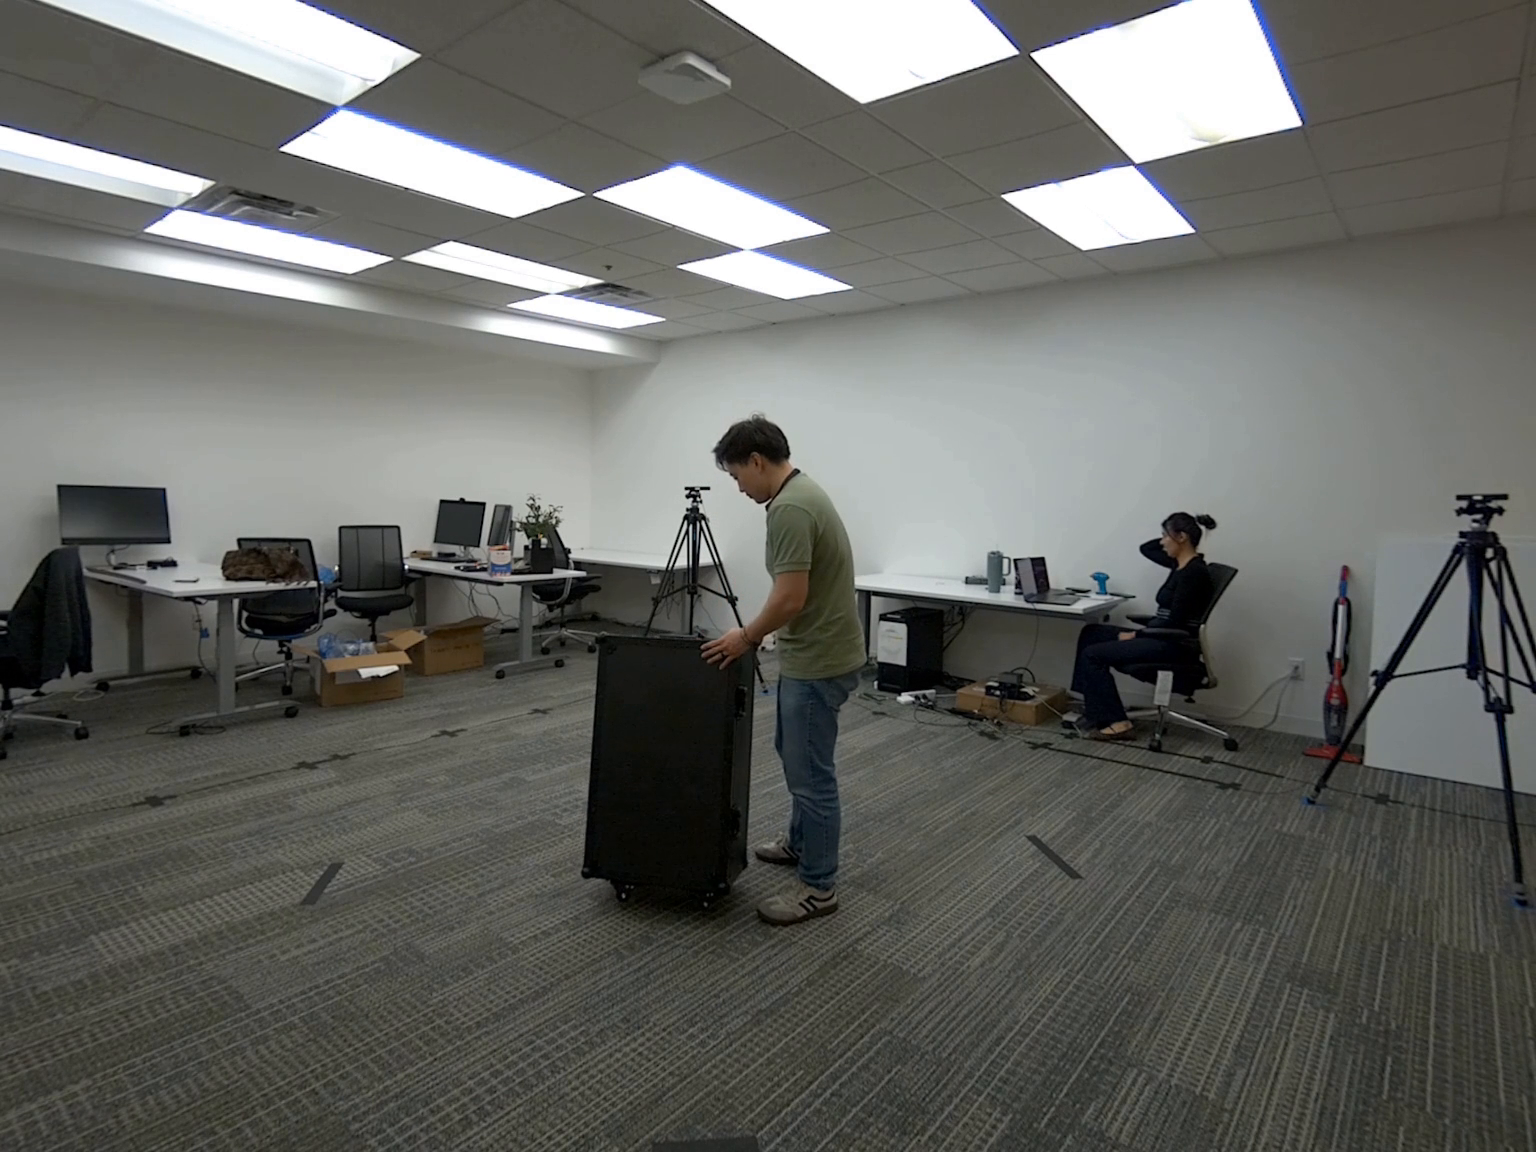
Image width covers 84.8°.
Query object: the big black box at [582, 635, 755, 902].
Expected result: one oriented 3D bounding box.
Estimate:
[{"bbox_3d":[-0.338,0.643,2.932,0.529,0.869,0.387,1,-9,12],"label":"big black box"}]
